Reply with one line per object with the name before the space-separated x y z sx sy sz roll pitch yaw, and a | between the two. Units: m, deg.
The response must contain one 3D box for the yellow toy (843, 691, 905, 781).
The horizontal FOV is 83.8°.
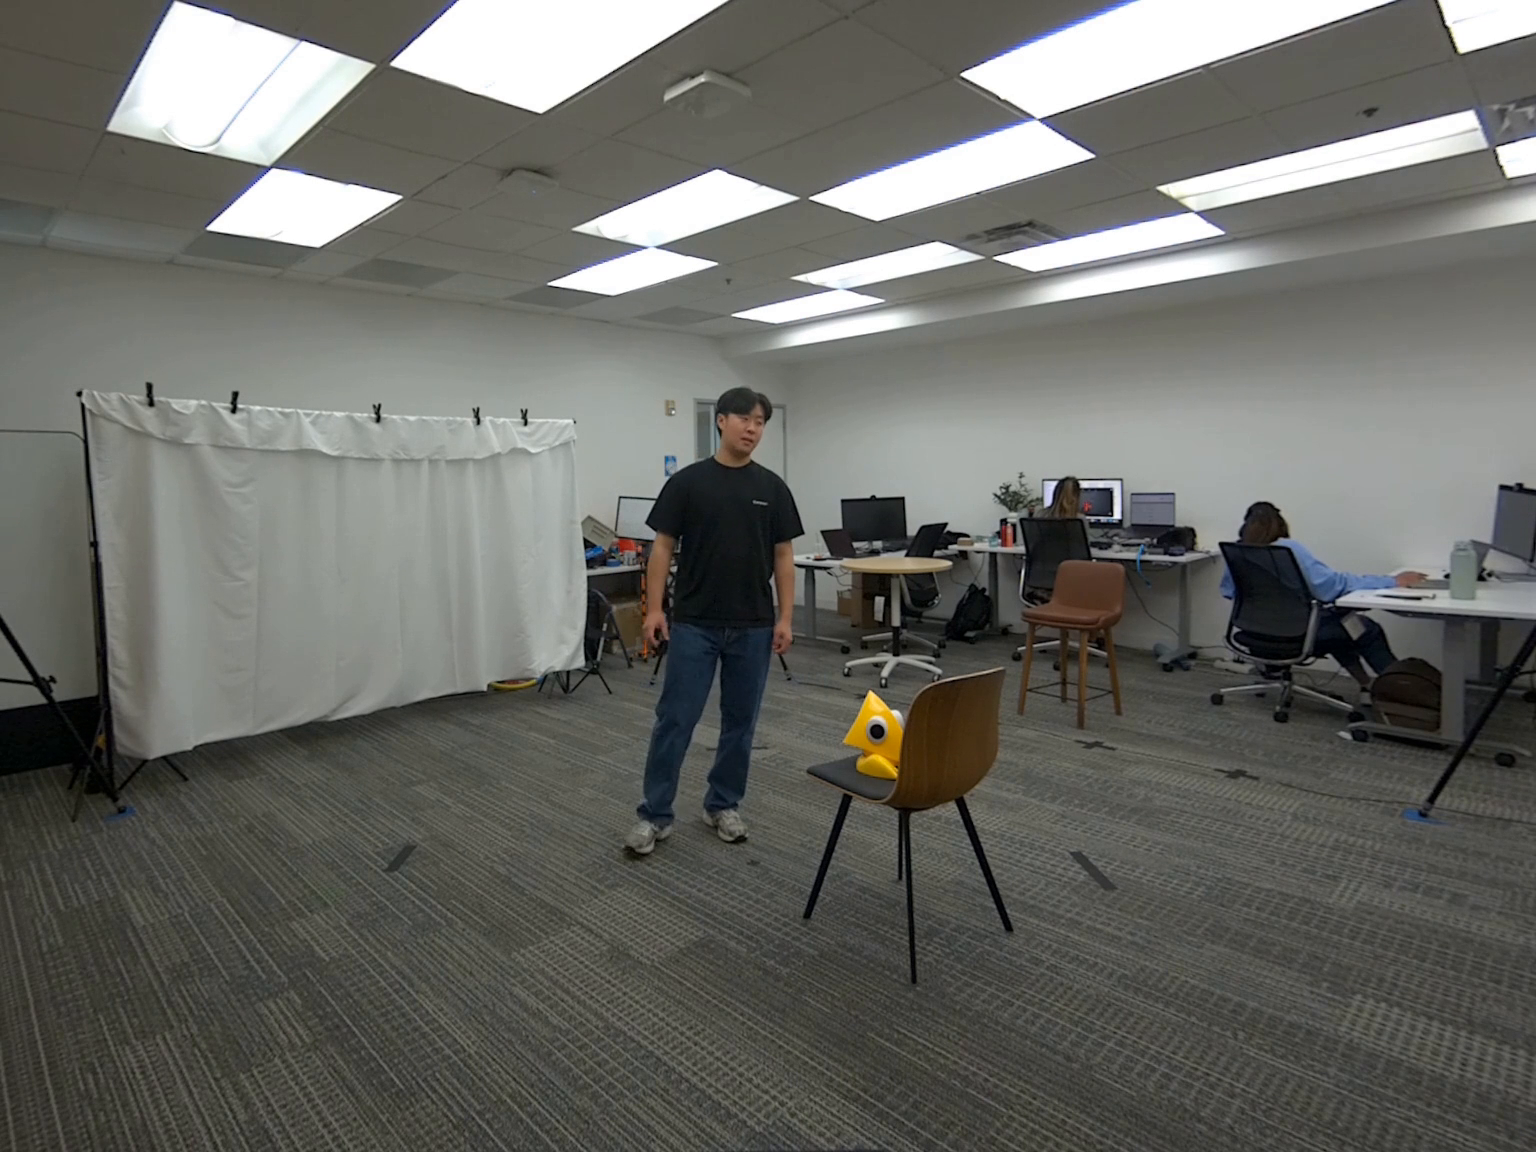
yellow toy | 0.378 0.488 2.683 0.199 0.229 0.199 7 10 43
